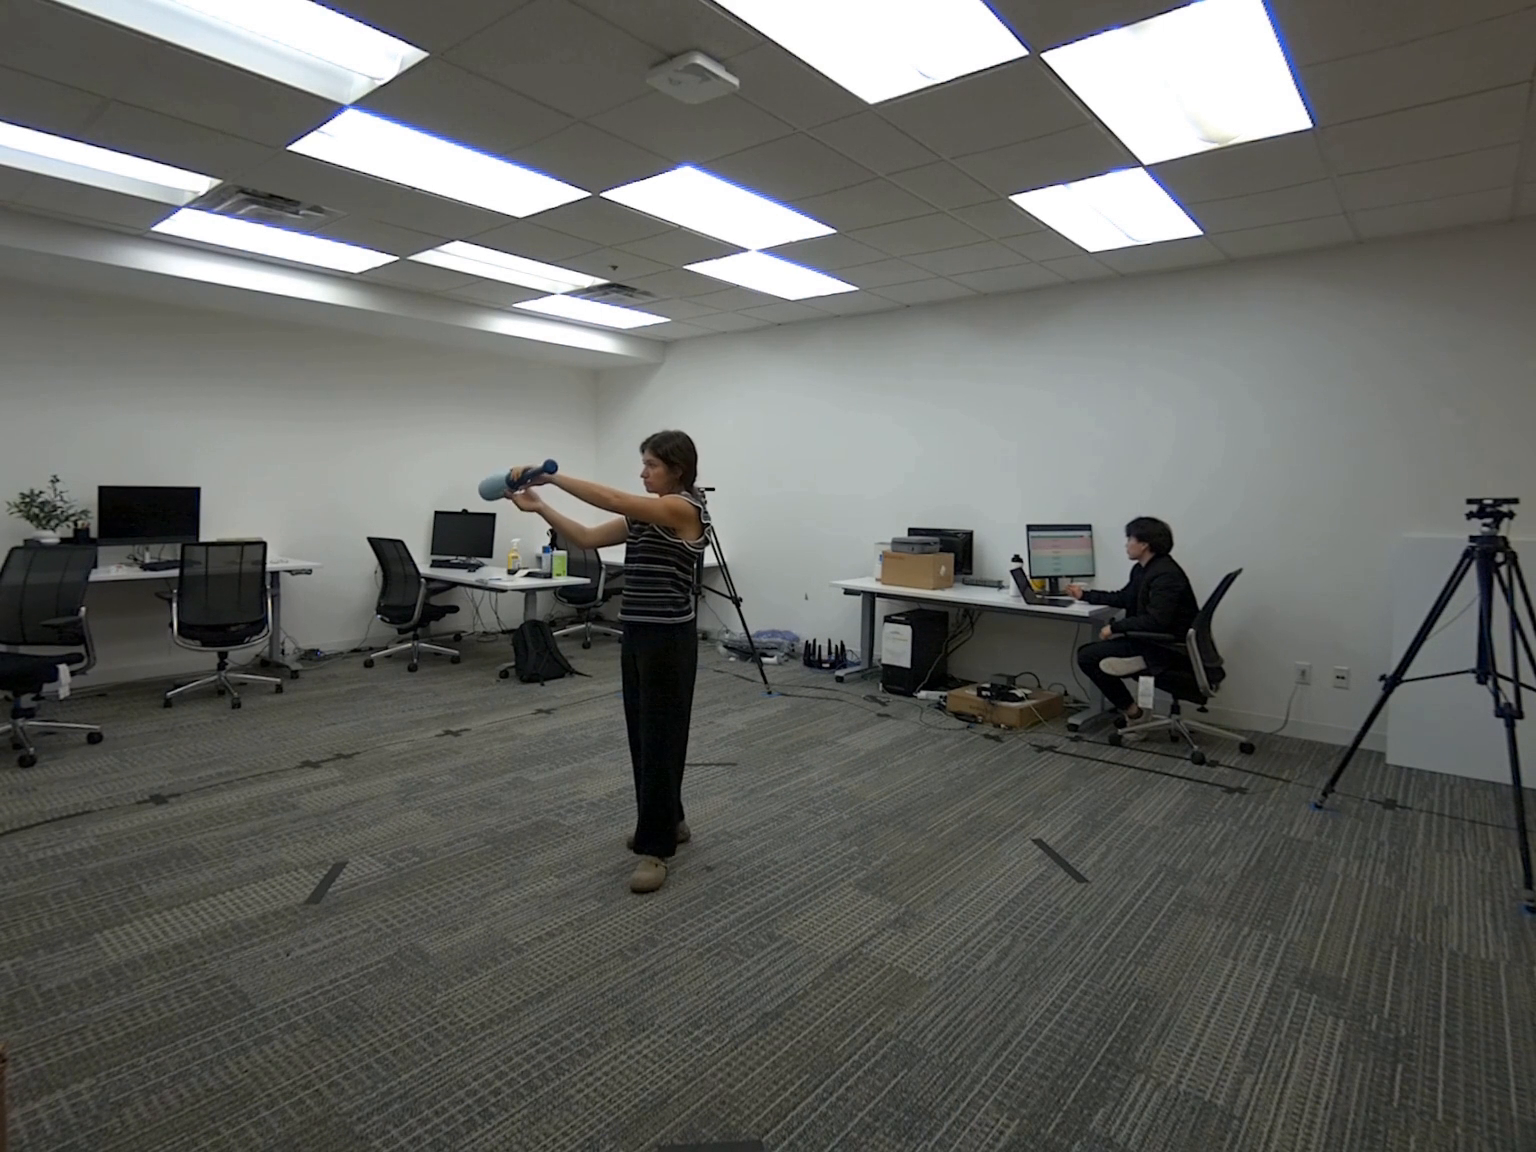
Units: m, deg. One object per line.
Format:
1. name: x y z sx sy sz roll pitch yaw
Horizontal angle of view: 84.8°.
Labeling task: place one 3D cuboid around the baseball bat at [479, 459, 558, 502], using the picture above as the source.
1. baseball bat: -0.866 -0.325 2.901 0.086 0.089 0.557 -2 -2 -39
